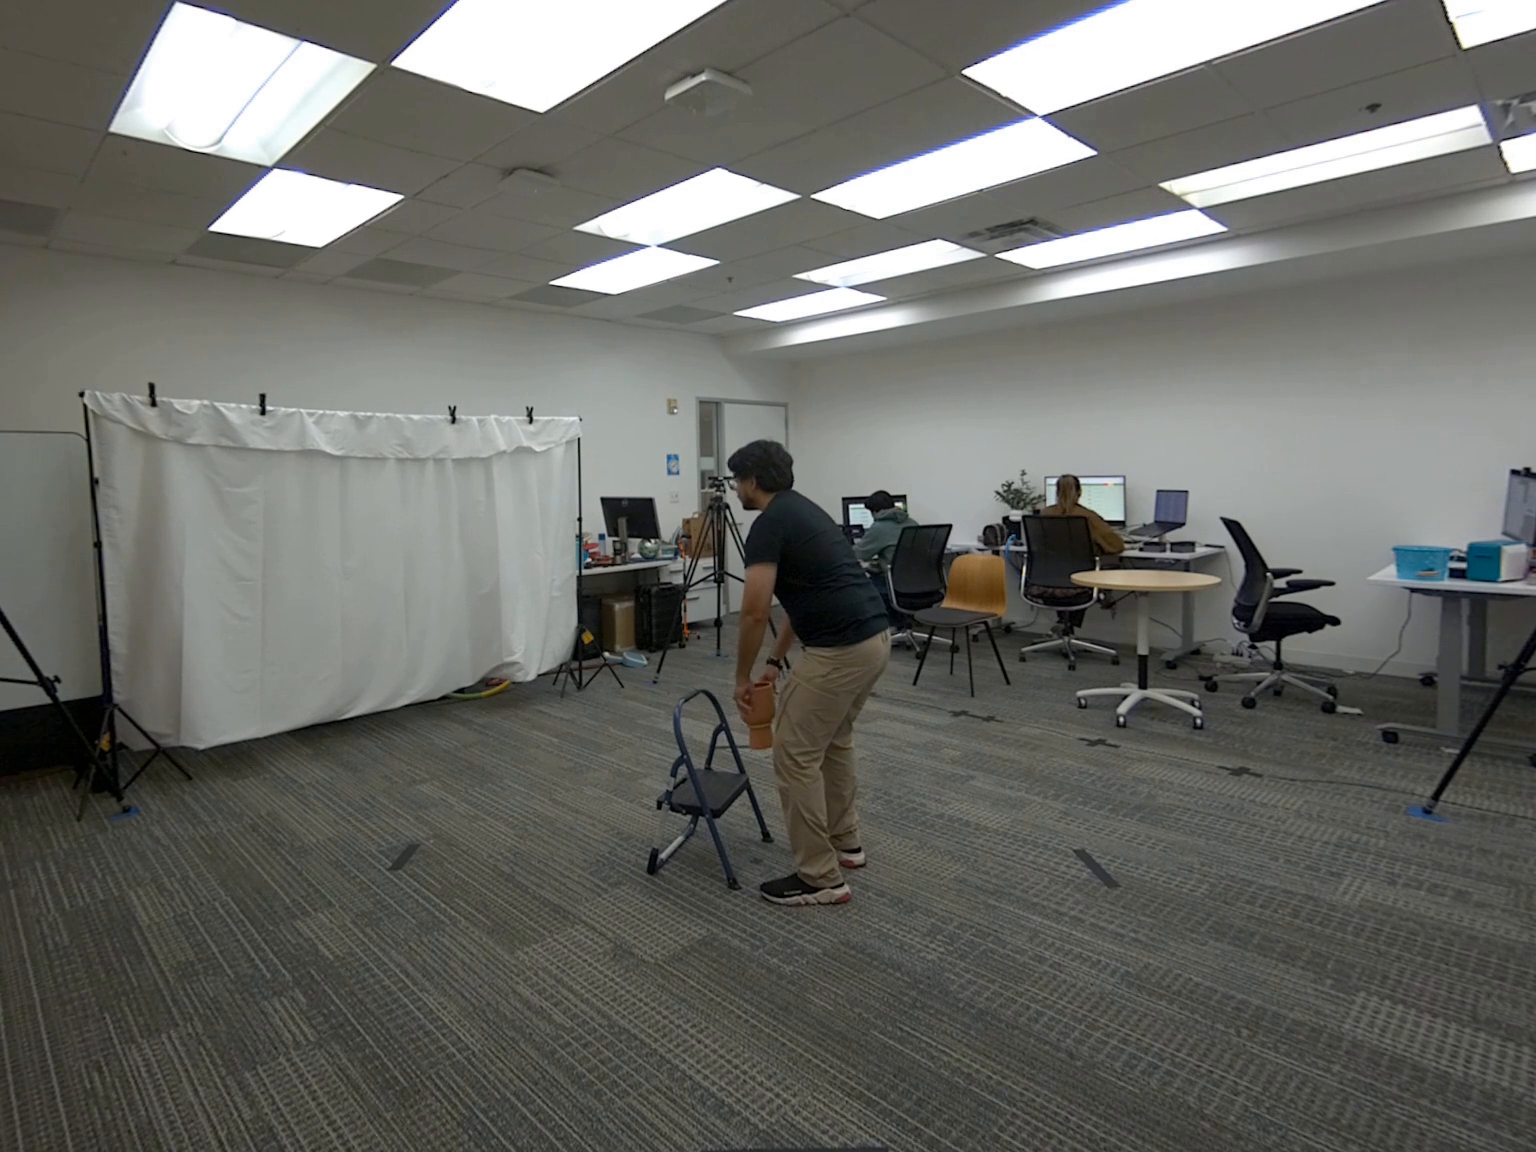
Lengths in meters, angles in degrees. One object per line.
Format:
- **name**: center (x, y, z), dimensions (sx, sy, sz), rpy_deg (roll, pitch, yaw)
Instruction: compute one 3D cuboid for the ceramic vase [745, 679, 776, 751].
- **ceramic vase**: center (-0.030, 0.506, 3.093), dimensions (0.155, 0.219, 0.137), rpy_deg (-8, 2, -28)
